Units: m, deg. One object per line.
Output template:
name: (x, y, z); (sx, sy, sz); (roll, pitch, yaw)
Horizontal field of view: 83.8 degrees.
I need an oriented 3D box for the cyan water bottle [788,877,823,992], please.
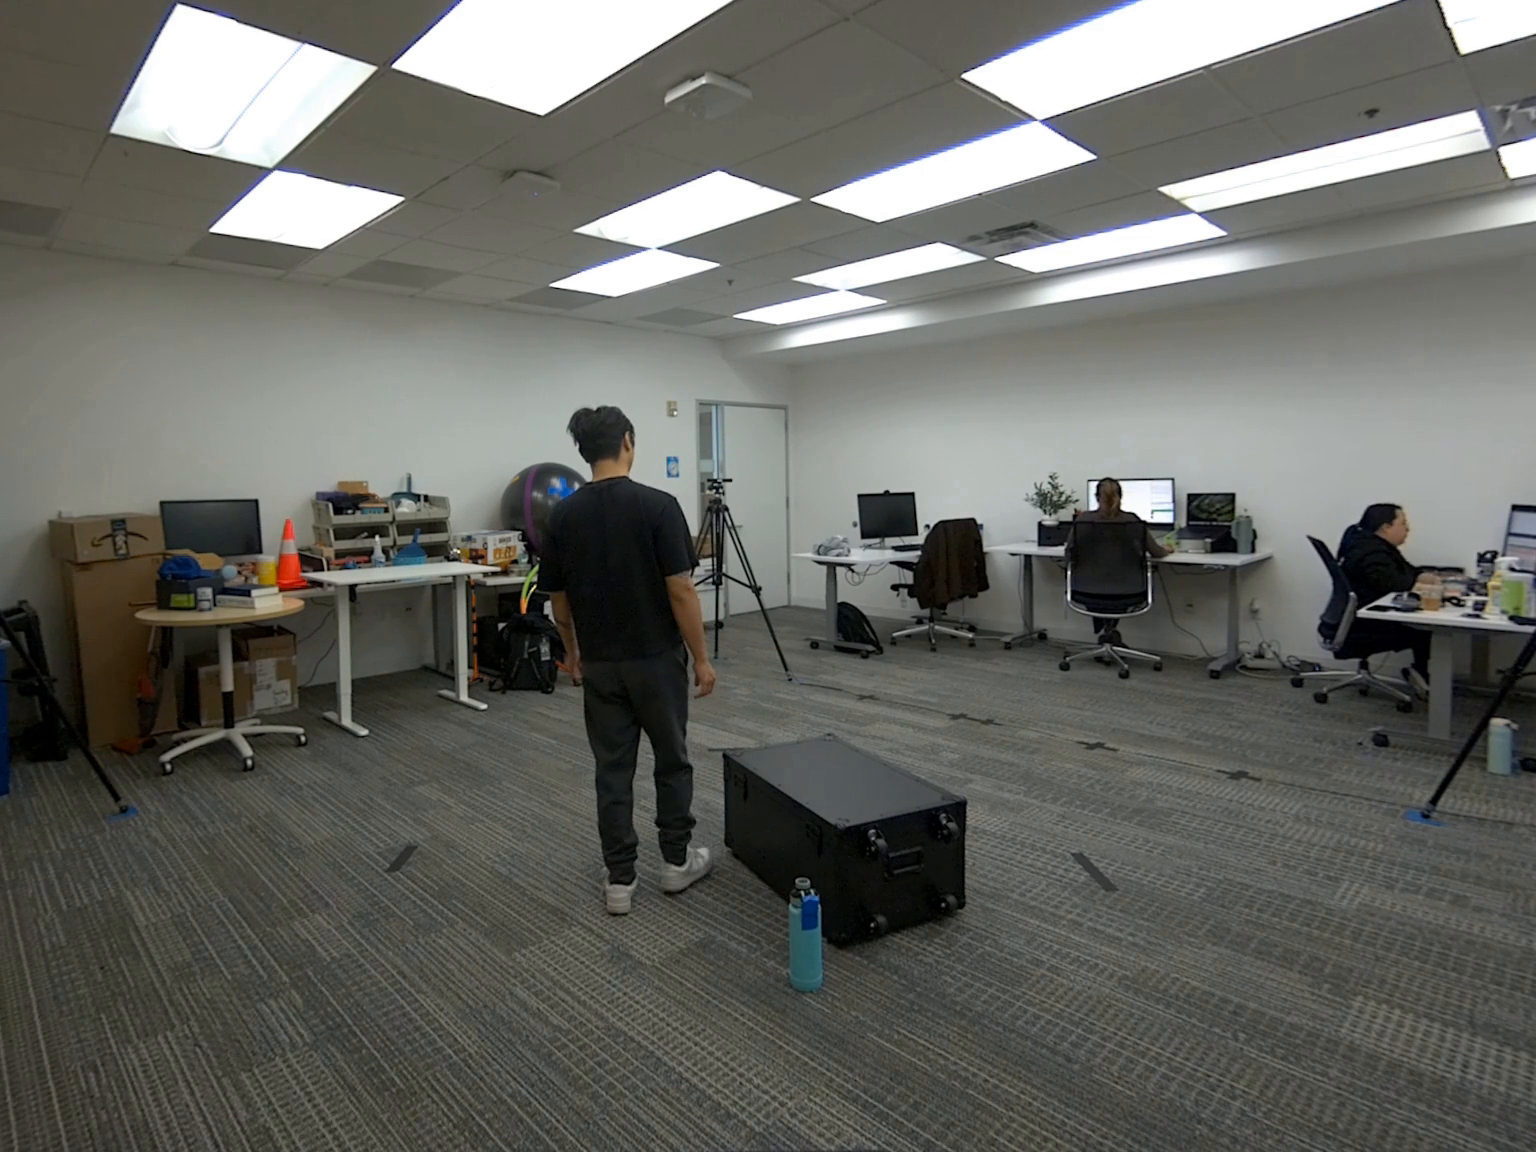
cyan water bottle: (0.106, 0.991, 2.355); (0.092, 0.282, 0.093); (0, 5, -2)
